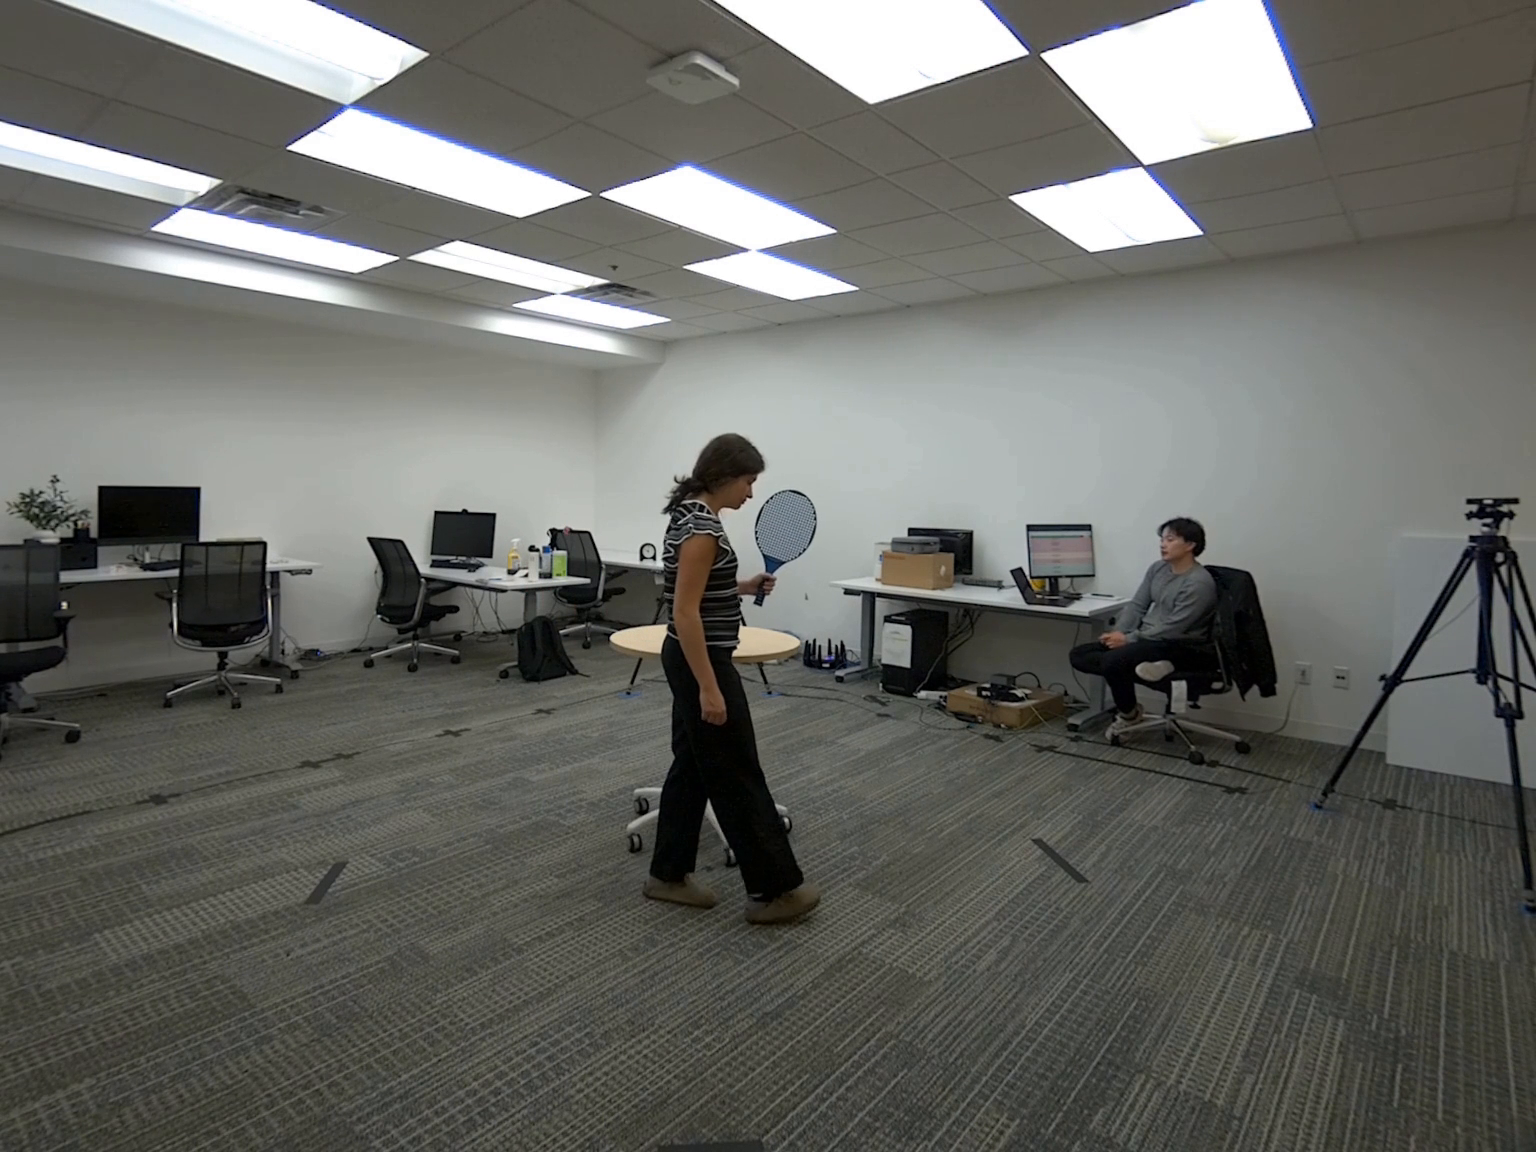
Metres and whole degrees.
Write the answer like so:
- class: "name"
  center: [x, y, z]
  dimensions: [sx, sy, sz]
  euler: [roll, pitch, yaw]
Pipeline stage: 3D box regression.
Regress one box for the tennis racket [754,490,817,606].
- class: "tennis racket"
  center: [0.012, -0.105, 3.018]
  dimensions: [0.214, 0.434, 0.031]
  euler: [20, -6, 2]
